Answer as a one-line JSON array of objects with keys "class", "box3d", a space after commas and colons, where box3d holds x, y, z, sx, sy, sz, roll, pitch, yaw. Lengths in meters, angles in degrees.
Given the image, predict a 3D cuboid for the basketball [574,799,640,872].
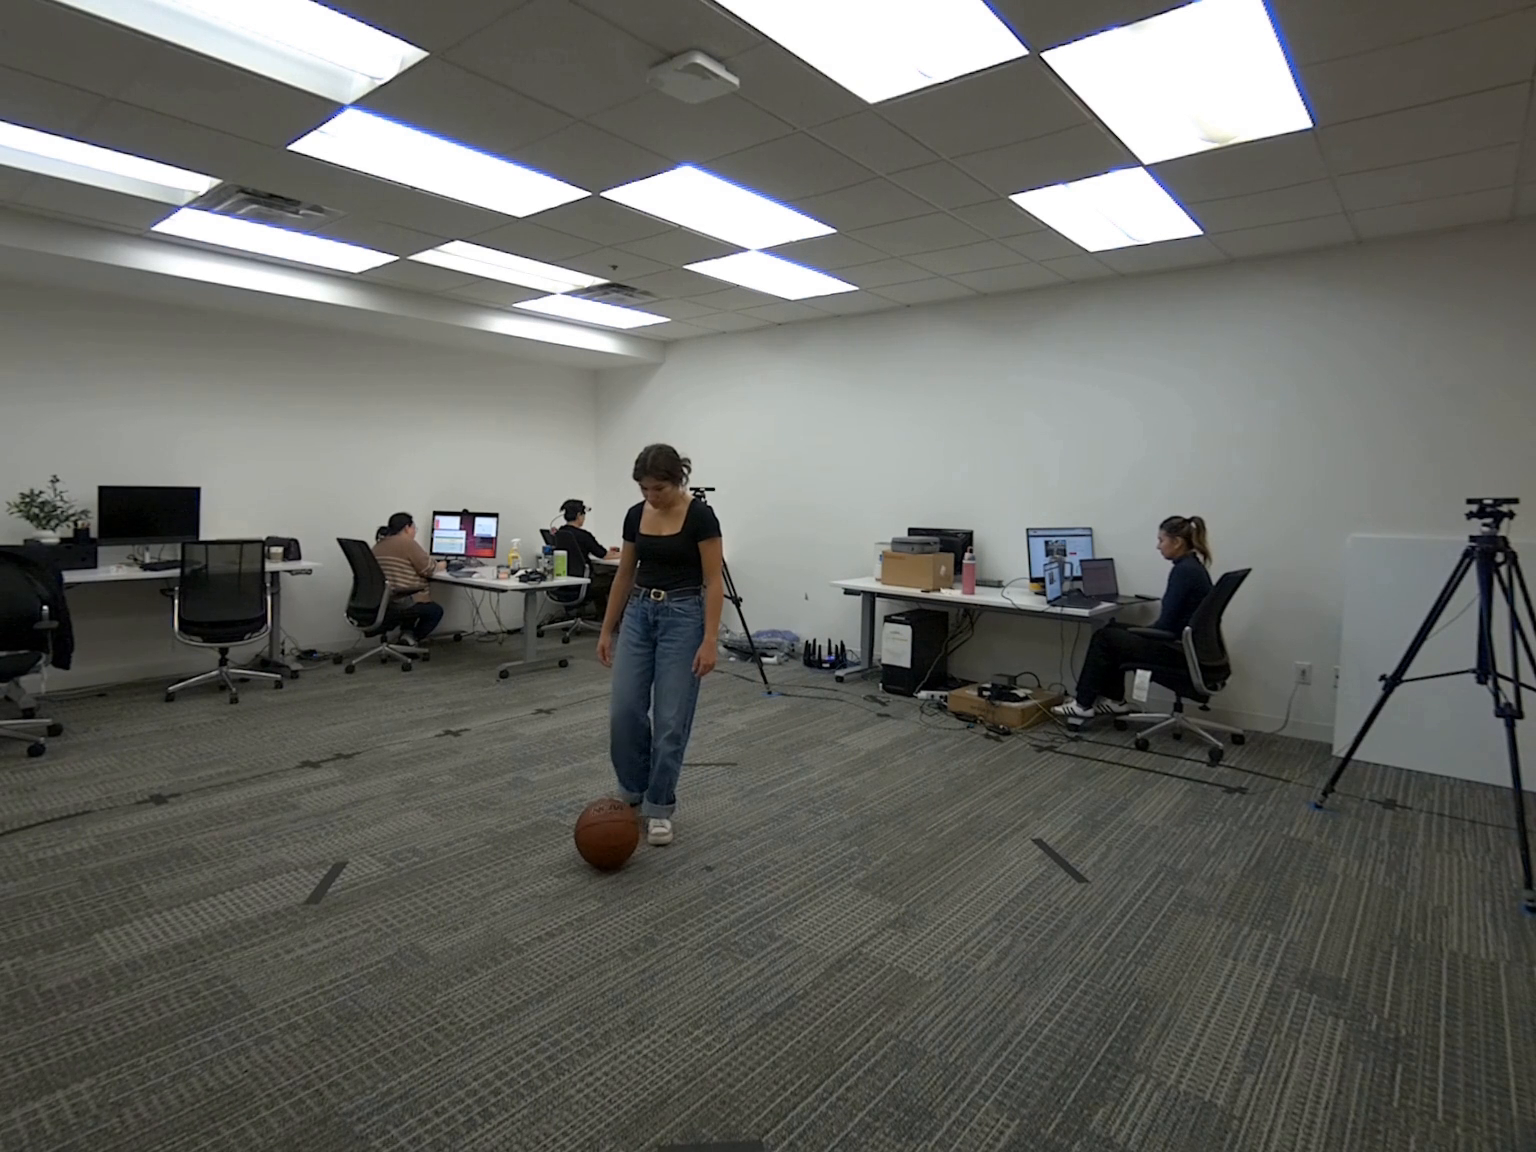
[{"class": "basketball", "box3d": [-0.602, 0.938, 3.116, 0.235, 0.235, 0.237, 1, 4, -2]}]
